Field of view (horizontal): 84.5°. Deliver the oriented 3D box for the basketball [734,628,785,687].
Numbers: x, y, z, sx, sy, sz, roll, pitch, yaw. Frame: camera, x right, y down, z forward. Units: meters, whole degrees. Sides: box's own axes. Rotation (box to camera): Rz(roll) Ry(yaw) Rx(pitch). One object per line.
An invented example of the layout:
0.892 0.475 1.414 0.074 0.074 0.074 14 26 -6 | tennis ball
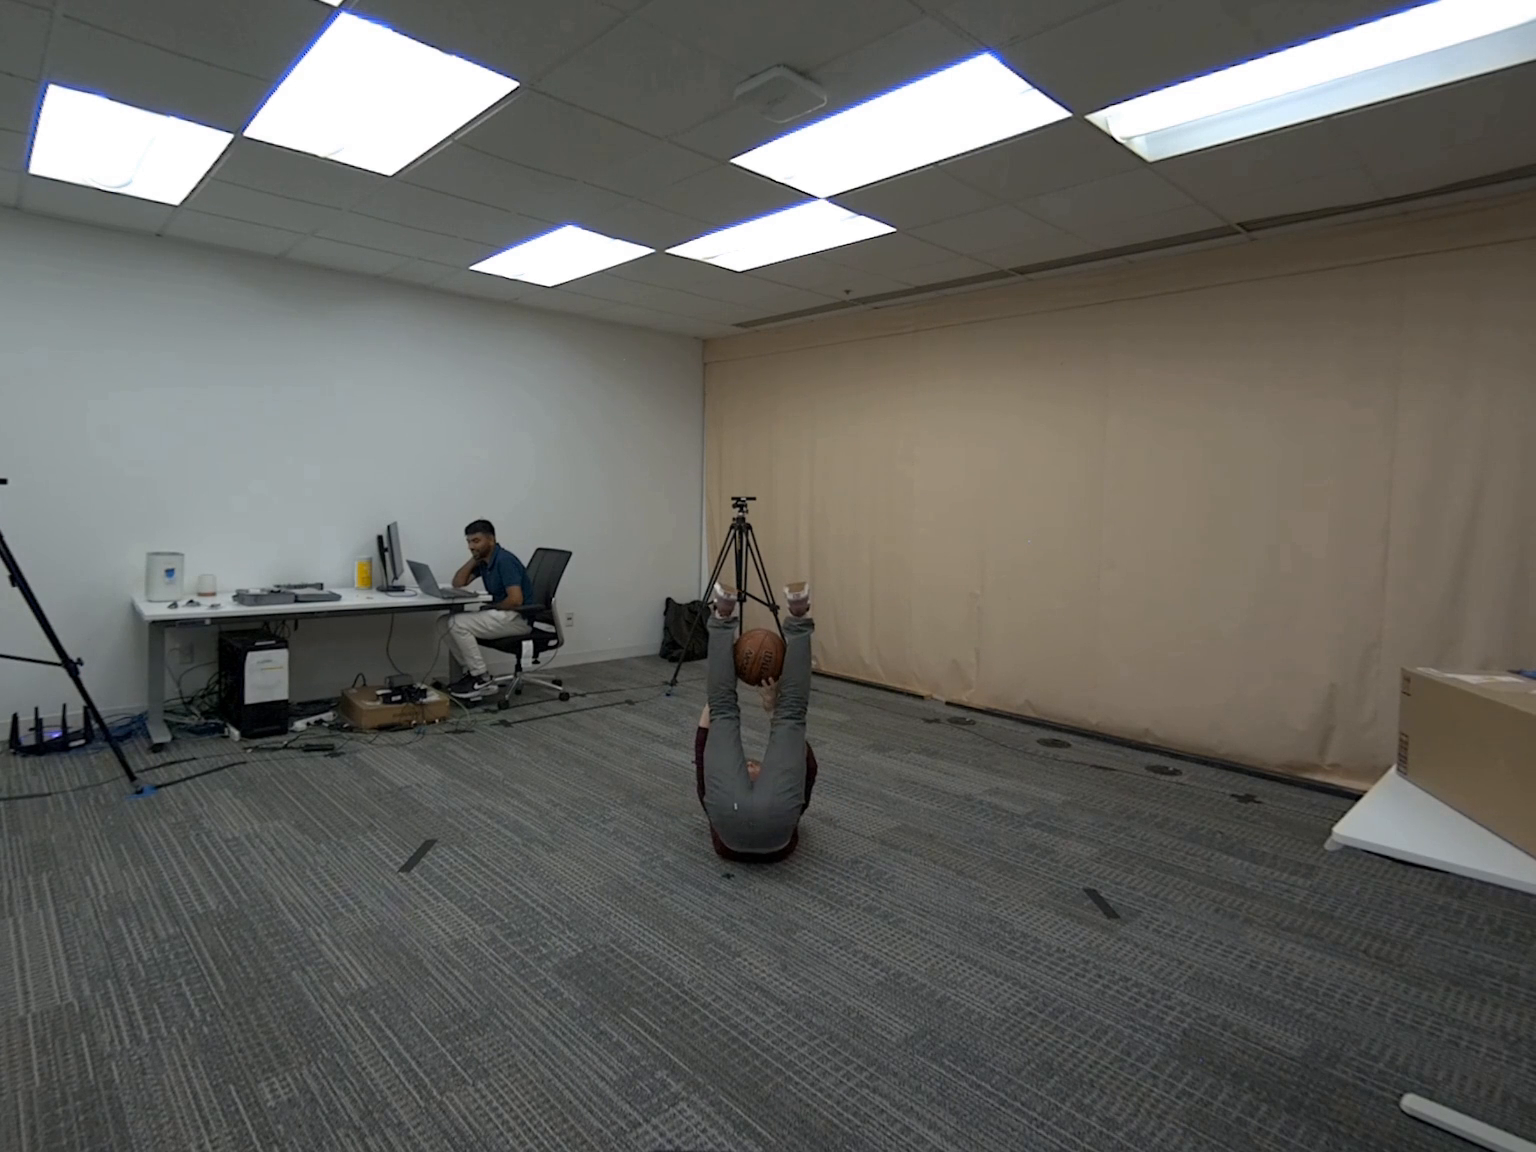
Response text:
-0.046 0.332 3.480 0.236 0.235 0.237 1 4 -1 | basketball
